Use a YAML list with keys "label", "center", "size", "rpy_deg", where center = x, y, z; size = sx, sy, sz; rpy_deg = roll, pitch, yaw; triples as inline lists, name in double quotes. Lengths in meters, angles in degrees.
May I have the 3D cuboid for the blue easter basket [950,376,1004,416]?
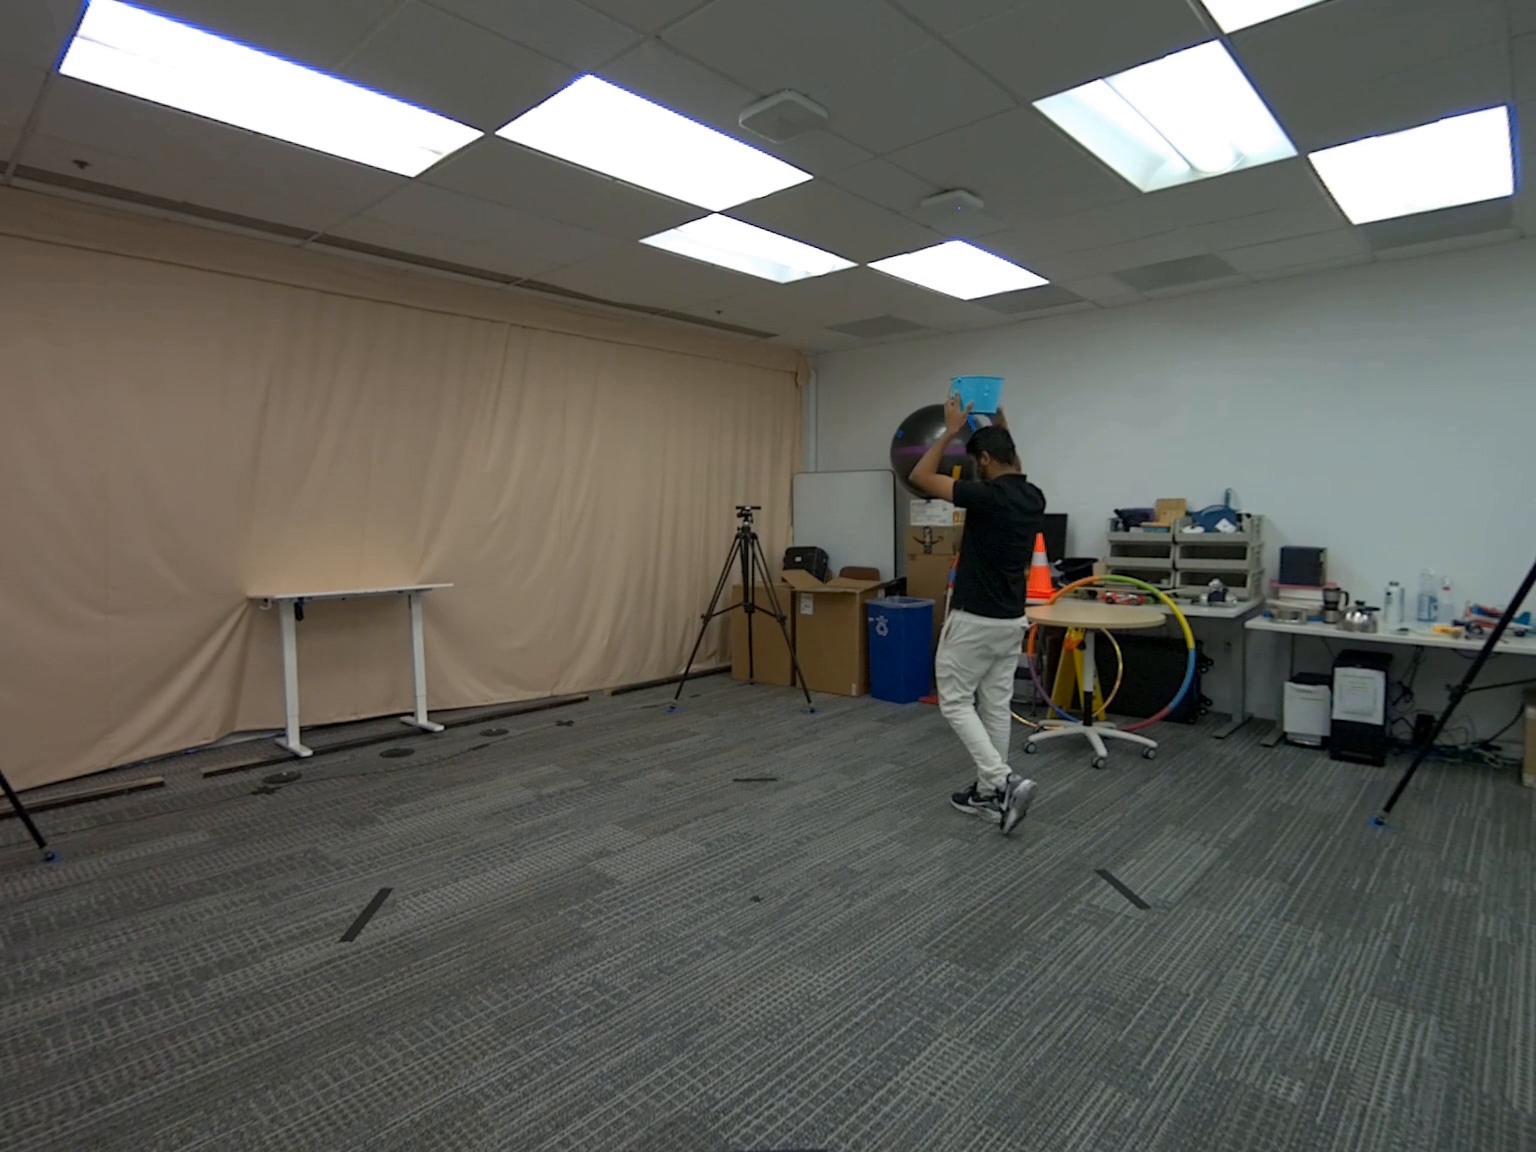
- label: "blue easter basket"
  center: [0.929, -0.800, 3.736]
  size: [0.243, 0.155, 0.245]
  rpy_deg: [2, 5, -2]
